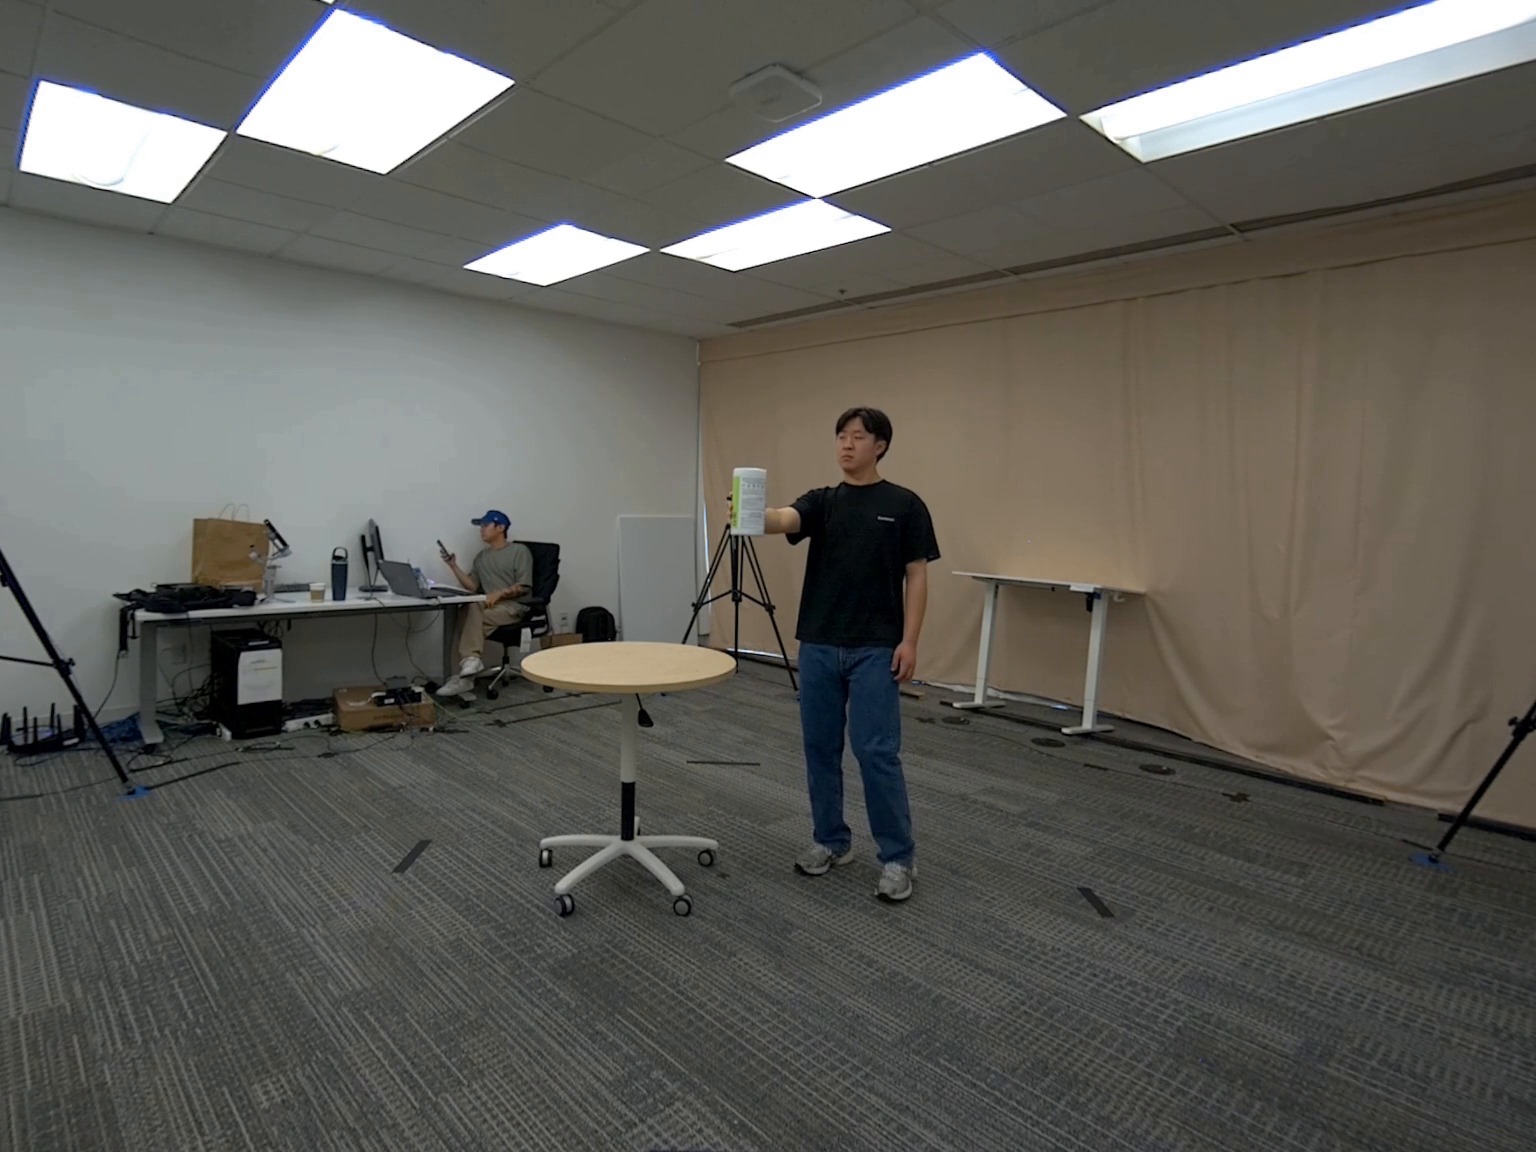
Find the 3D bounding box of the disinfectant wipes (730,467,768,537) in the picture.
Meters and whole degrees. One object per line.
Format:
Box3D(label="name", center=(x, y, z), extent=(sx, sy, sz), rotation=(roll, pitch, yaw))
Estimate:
Box3D(label="disinfectant wipes", center=(-0.068, -0.234, 2.706), extent=(0.118, 0.217, 0.118), rotation=(2, 1, -1))
